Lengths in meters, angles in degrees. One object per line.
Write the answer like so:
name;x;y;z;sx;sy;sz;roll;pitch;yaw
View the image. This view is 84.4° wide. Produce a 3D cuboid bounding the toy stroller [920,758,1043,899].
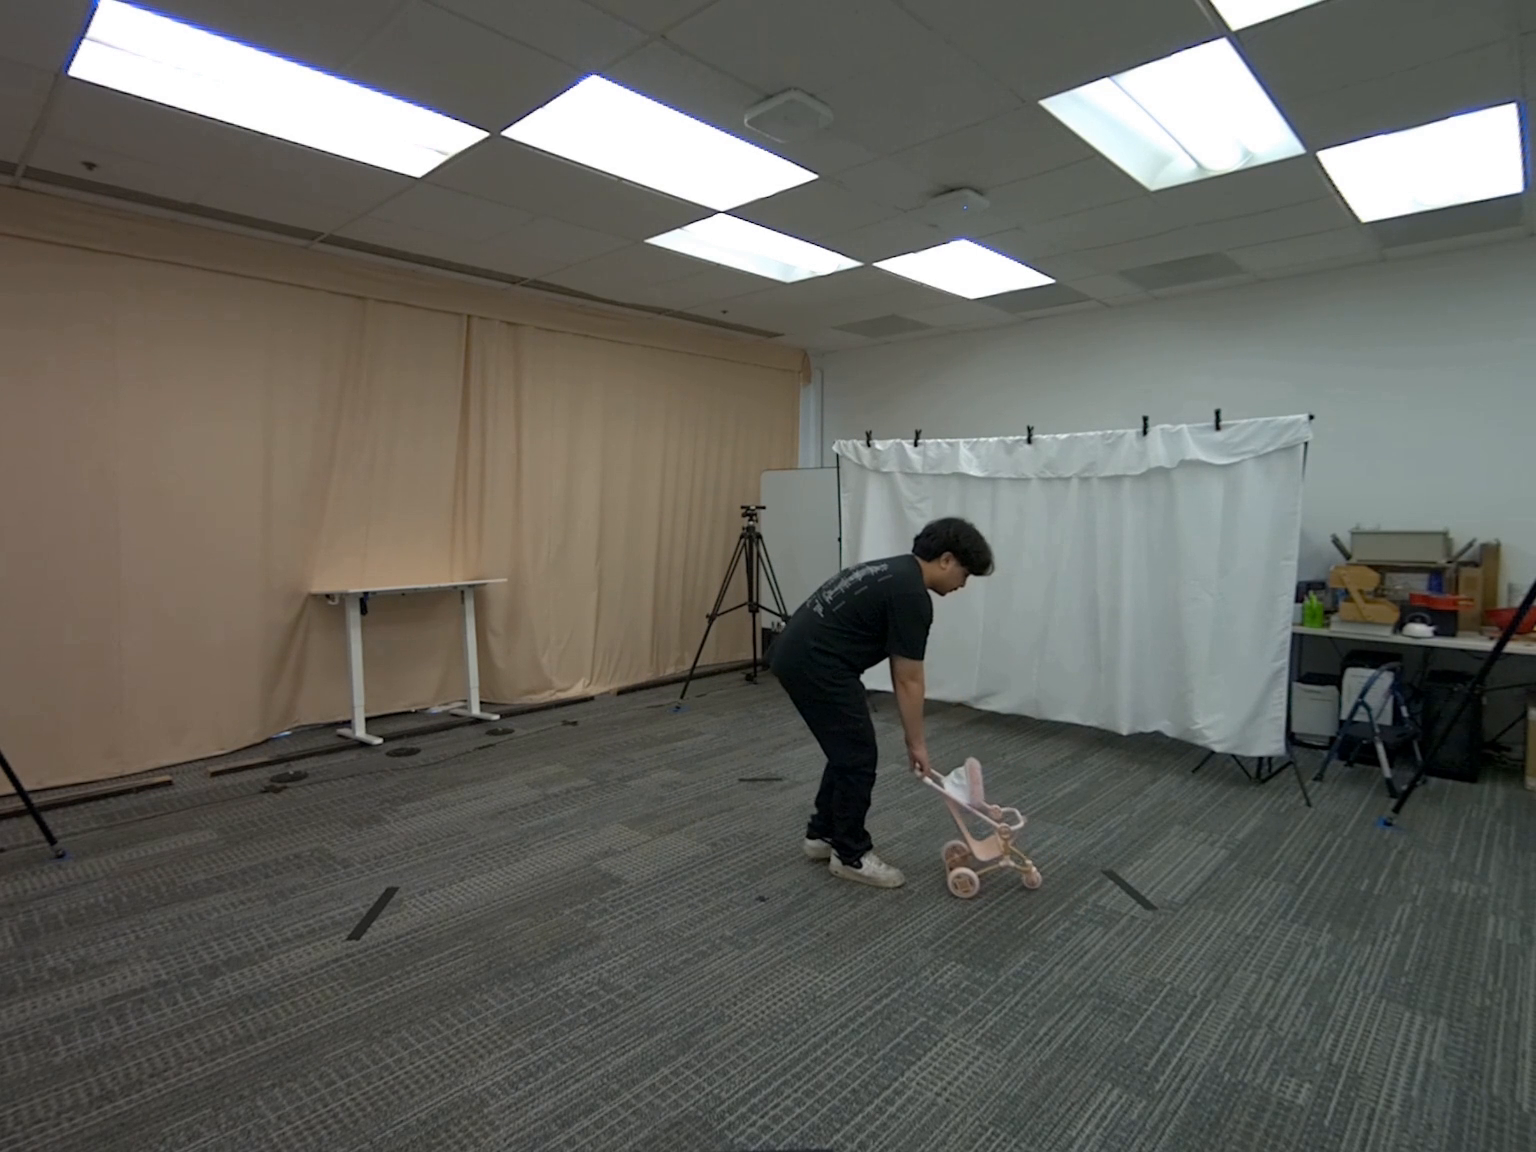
toy stroller;0.777;0.913;3.074;0.345;0.535;0.278;-16;0;13
